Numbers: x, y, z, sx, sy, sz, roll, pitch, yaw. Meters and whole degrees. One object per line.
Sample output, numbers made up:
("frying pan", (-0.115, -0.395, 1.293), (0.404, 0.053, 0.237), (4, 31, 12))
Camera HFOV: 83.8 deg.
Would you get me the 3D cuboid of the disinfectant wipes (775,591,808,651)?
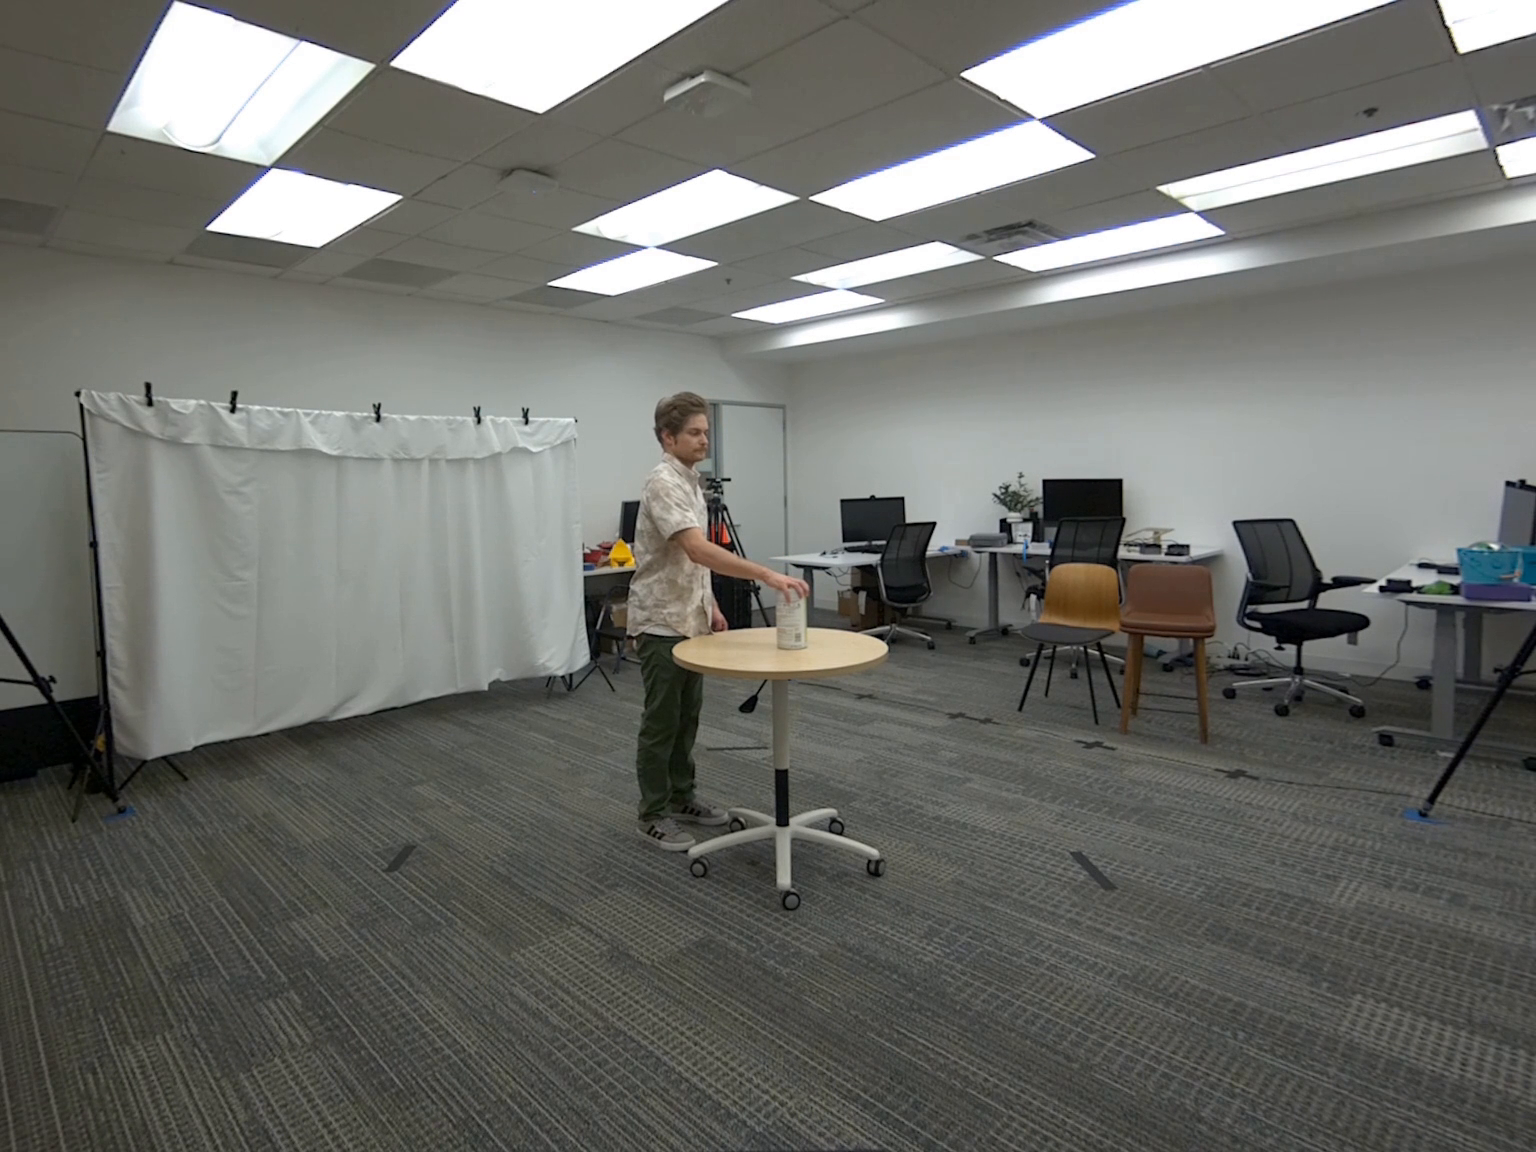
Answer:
("disinfectant wipes", (0.088, 0.149, 3.041), (0.118, 0.217, 0.118), (-1, 4, -2))
